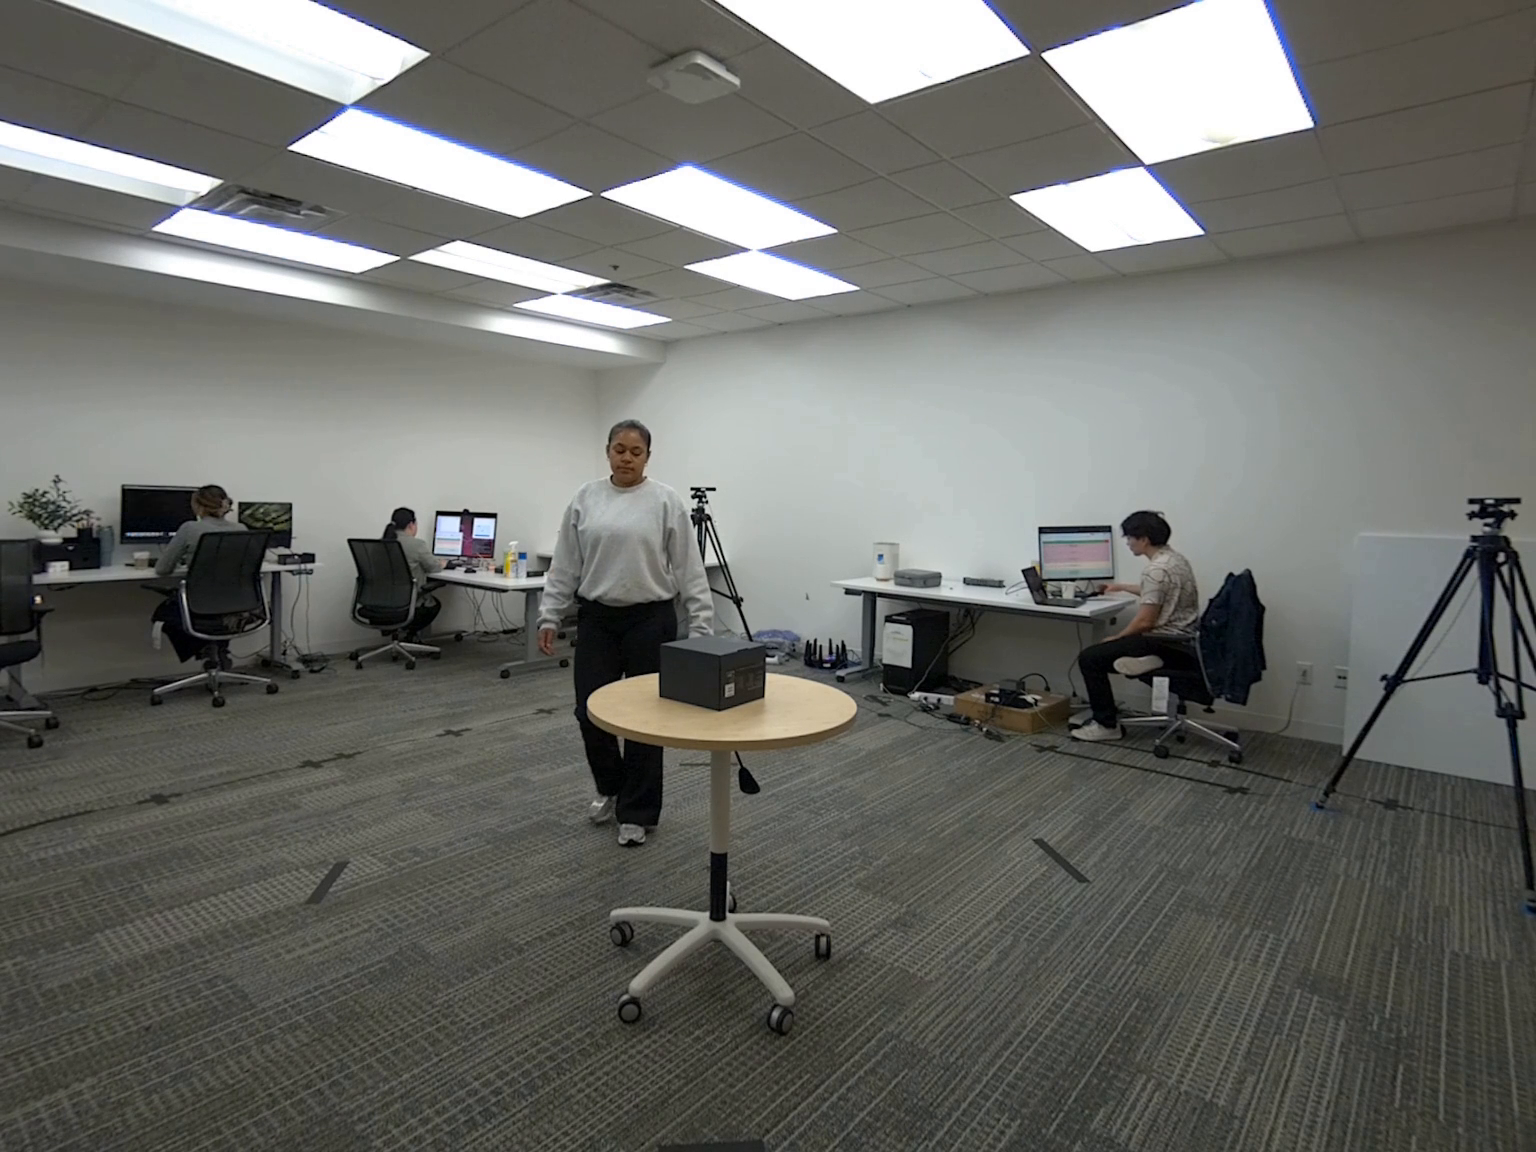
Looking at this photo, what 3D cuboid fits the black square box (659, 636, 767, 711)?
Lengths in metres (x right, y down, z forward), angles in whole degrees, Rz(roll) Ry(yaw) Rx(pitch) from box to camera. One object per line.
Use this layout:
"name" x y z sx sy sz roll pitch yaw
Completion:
"black square box" -0.163 0.268 2.459 0.235 0.155 0.210 5 5 36
